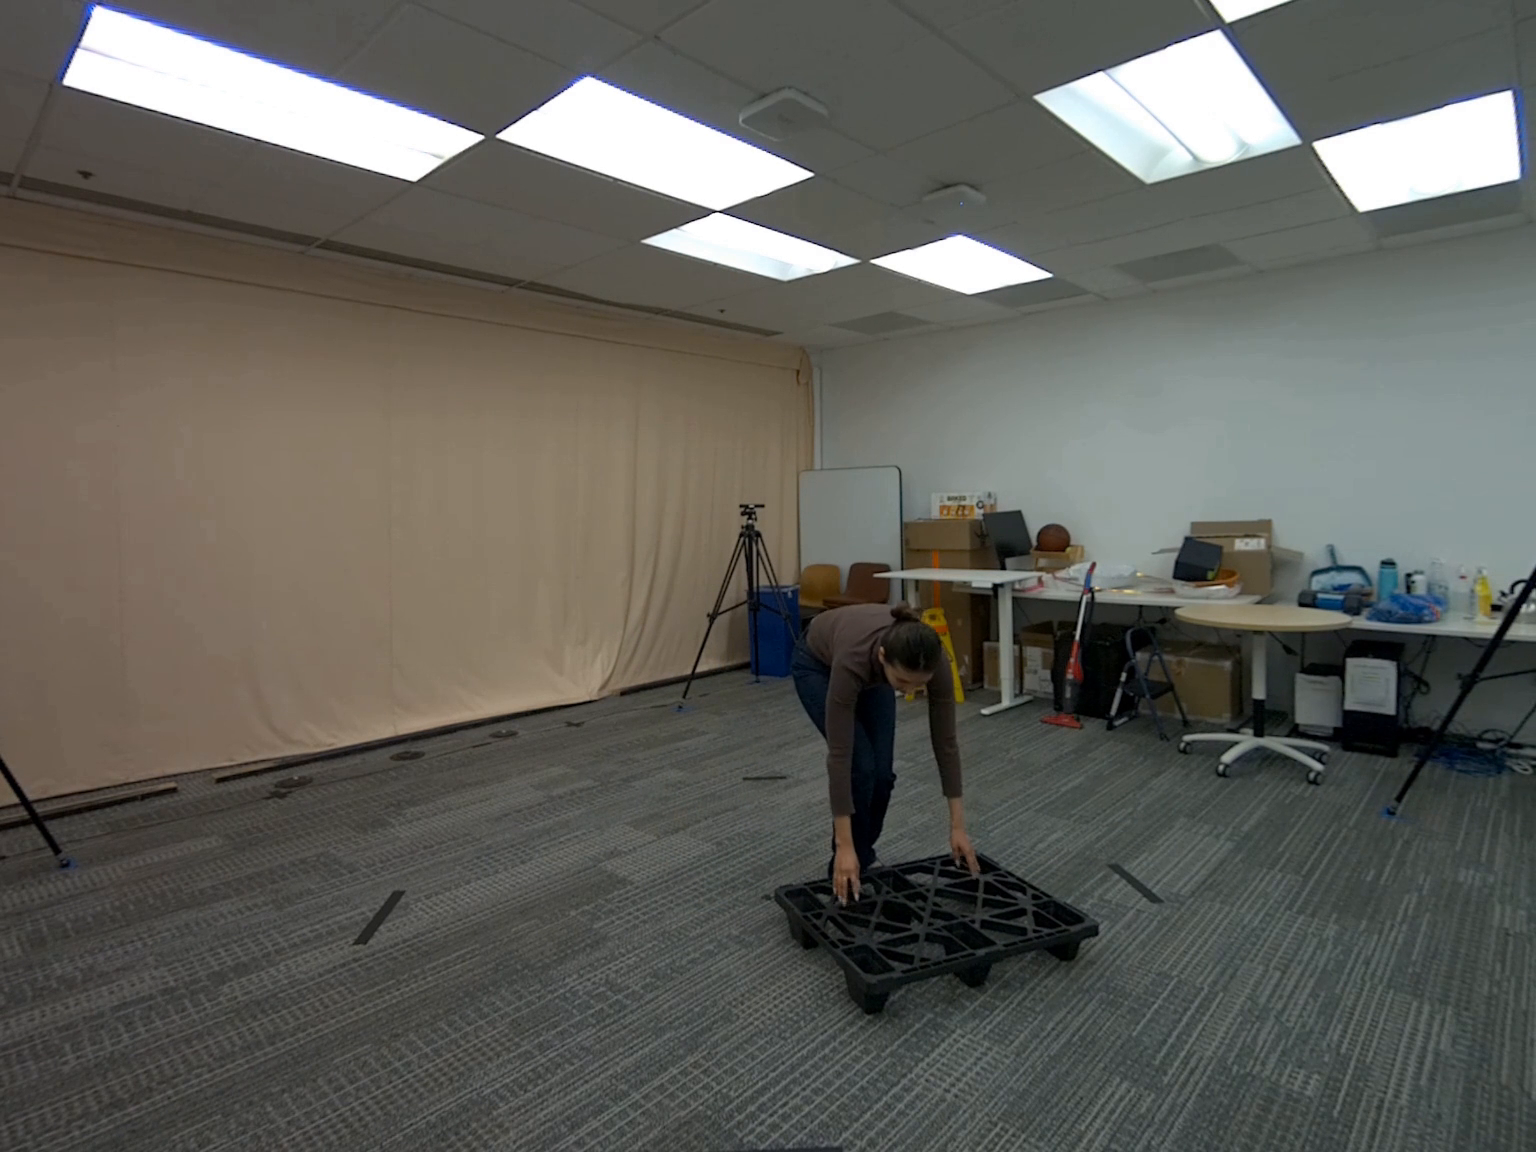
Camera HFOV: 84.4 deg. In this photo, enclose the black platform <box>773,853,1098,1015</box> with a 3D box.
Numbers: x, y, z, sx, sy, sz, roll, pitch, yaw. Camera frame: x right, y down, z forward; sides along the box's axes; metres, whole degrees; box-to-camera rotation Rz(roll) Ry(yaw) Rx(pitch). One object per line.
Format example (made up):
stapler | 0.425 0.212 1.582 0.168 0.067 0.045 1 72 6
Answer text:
black platform | 0.512 1.094 2.625 0.788 0.143 0.620 -3 6 -22
